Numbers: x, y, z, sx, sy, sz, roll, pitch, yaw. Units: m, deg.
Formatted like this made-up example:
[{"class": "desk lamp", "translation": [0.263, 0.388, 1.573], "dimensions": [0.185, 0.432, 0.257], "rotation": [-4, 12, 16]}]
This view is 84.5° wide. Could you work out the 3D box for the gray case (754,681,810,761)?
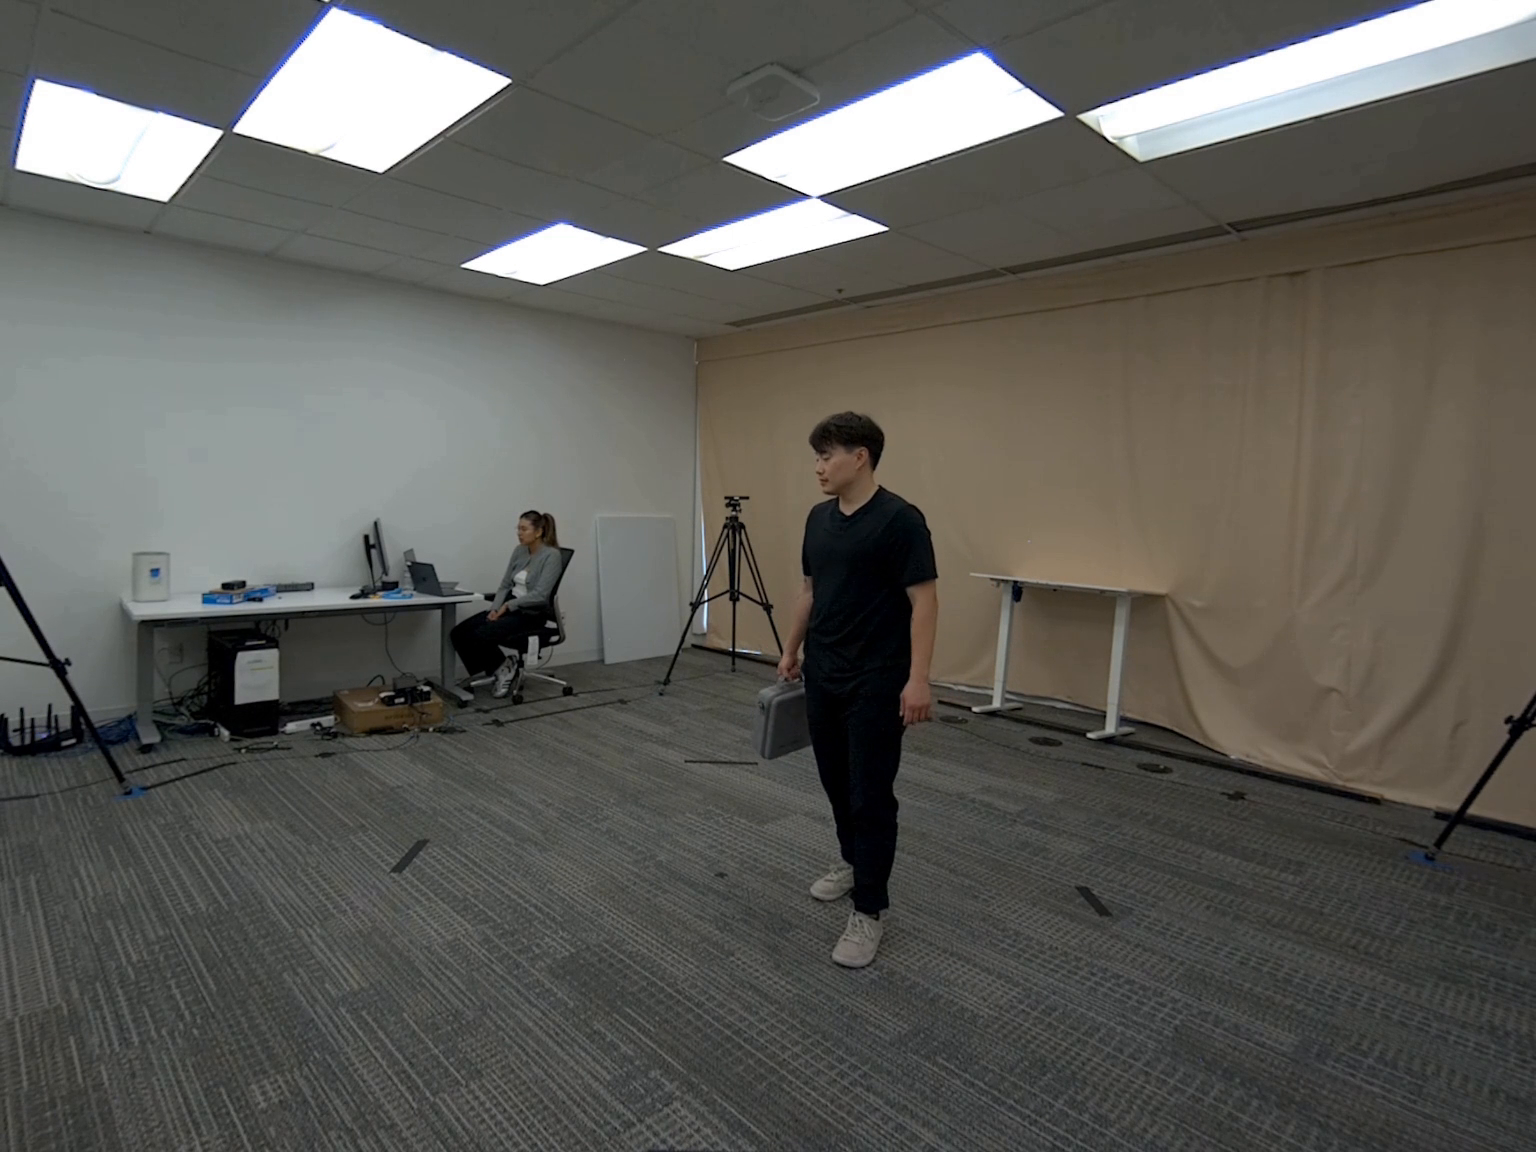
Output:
[{"class": "gray case", "translation": [0.070, 0.508, 3.035], "dimensions": [0.252, 0.258, 0.107], "rotation": [-8, 20, -38]}]
